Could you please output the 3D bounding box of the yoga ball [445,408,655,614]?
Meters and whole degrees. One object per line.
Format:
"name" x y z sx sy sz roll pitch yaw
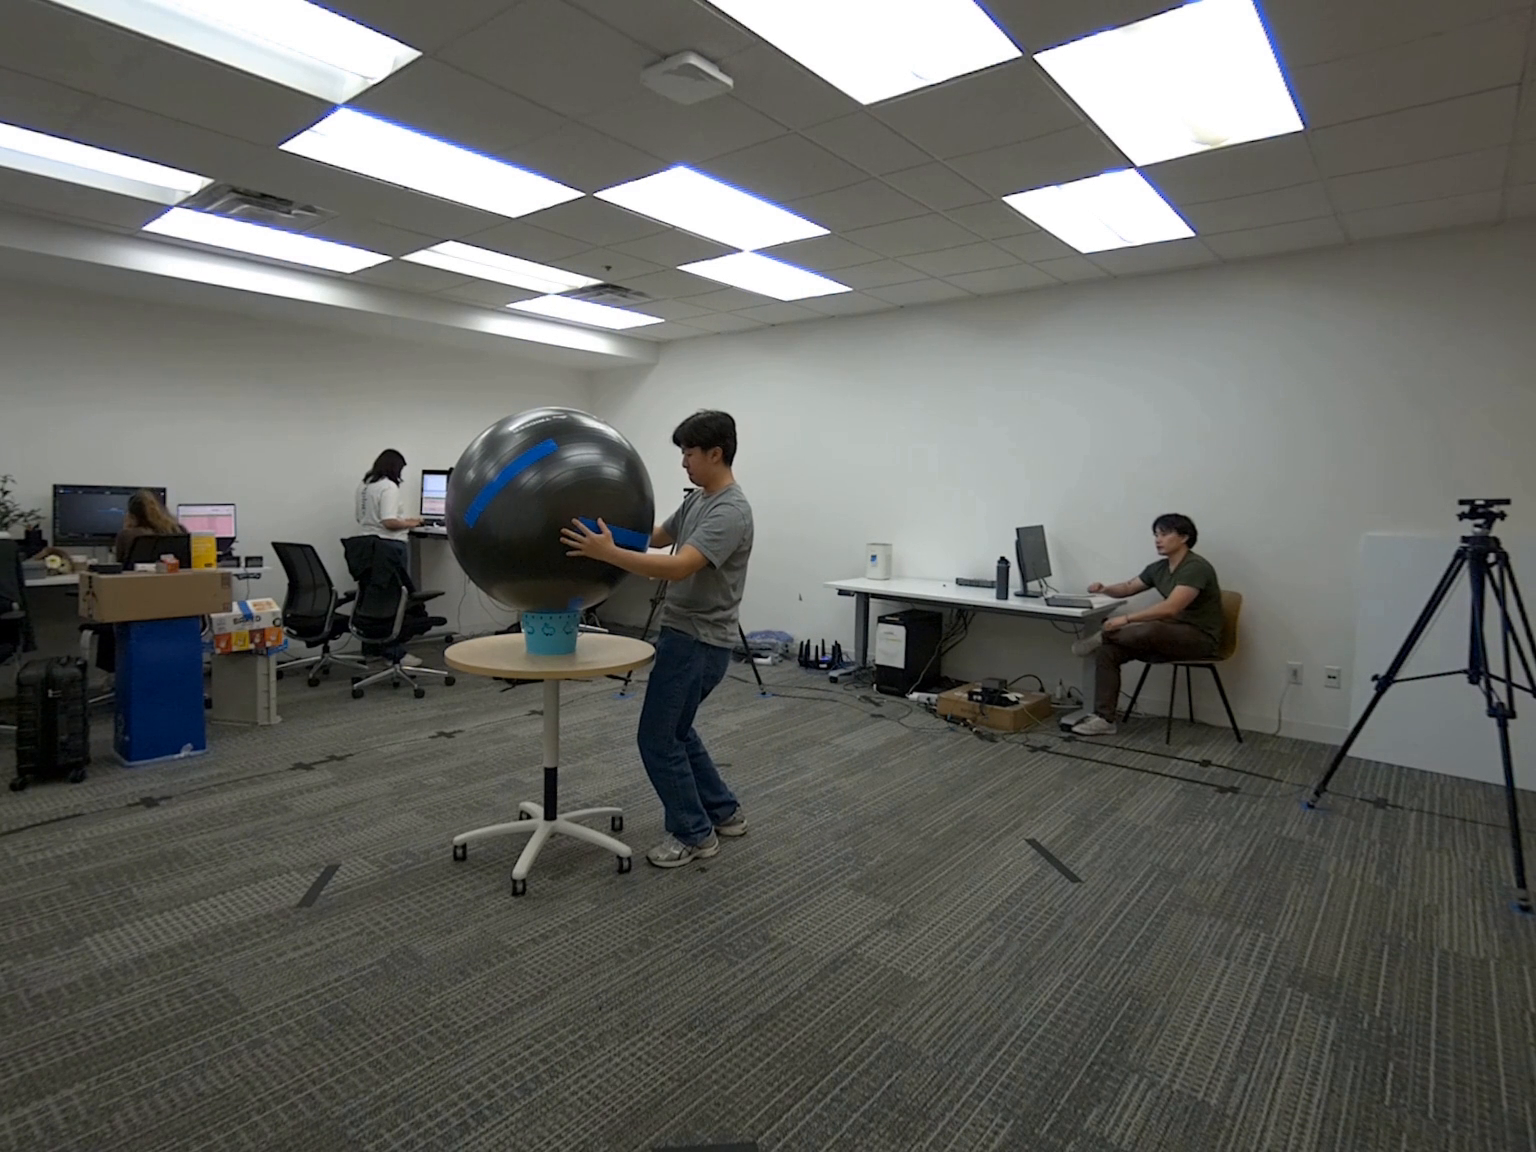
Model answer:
"yoga ball" -0.817 -0.239 3.133 0.757 0.755 0.762 1 4 -2
